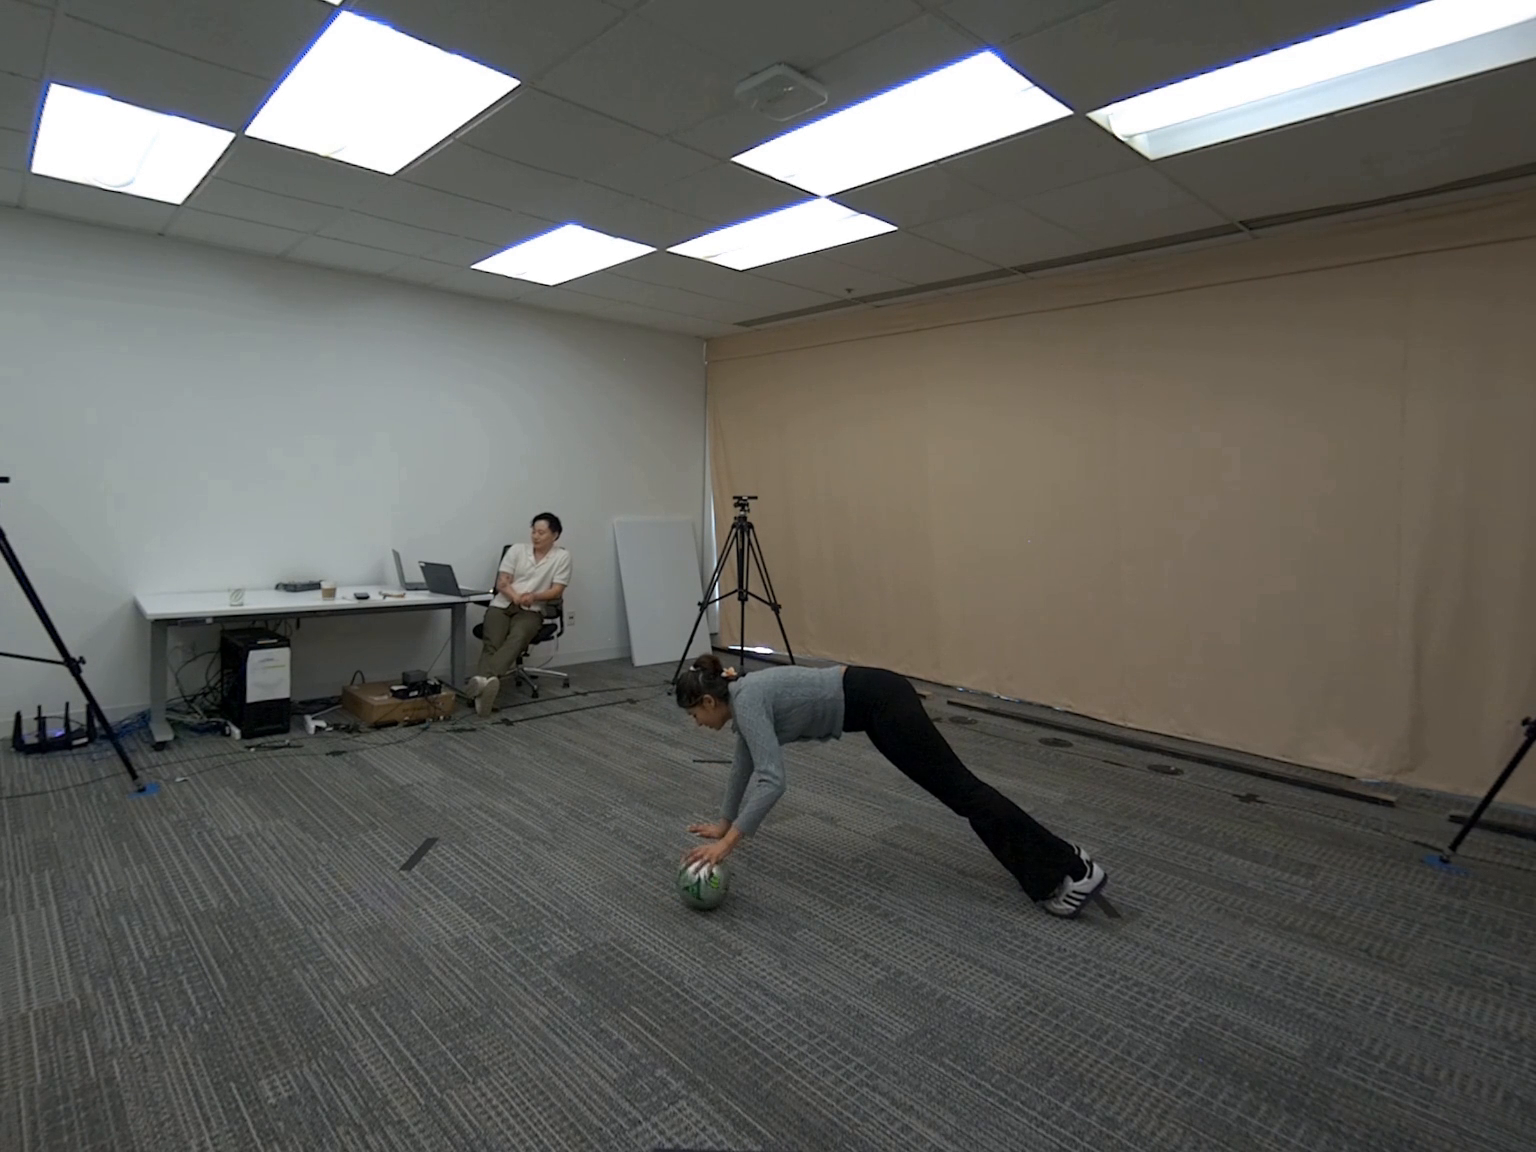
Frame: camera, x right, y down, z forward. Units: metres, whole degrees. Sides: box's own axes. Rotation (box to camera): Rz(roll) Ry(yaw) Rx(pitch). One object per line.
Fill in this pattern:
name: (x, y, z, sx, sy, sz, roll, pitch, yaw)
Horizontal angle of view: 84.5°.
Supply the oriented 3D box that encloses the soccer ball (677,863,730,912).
soccer ball: (-0.233, 1.028, 2.869, 0.187, 0.187, 0.188, 1, 4, -1)
